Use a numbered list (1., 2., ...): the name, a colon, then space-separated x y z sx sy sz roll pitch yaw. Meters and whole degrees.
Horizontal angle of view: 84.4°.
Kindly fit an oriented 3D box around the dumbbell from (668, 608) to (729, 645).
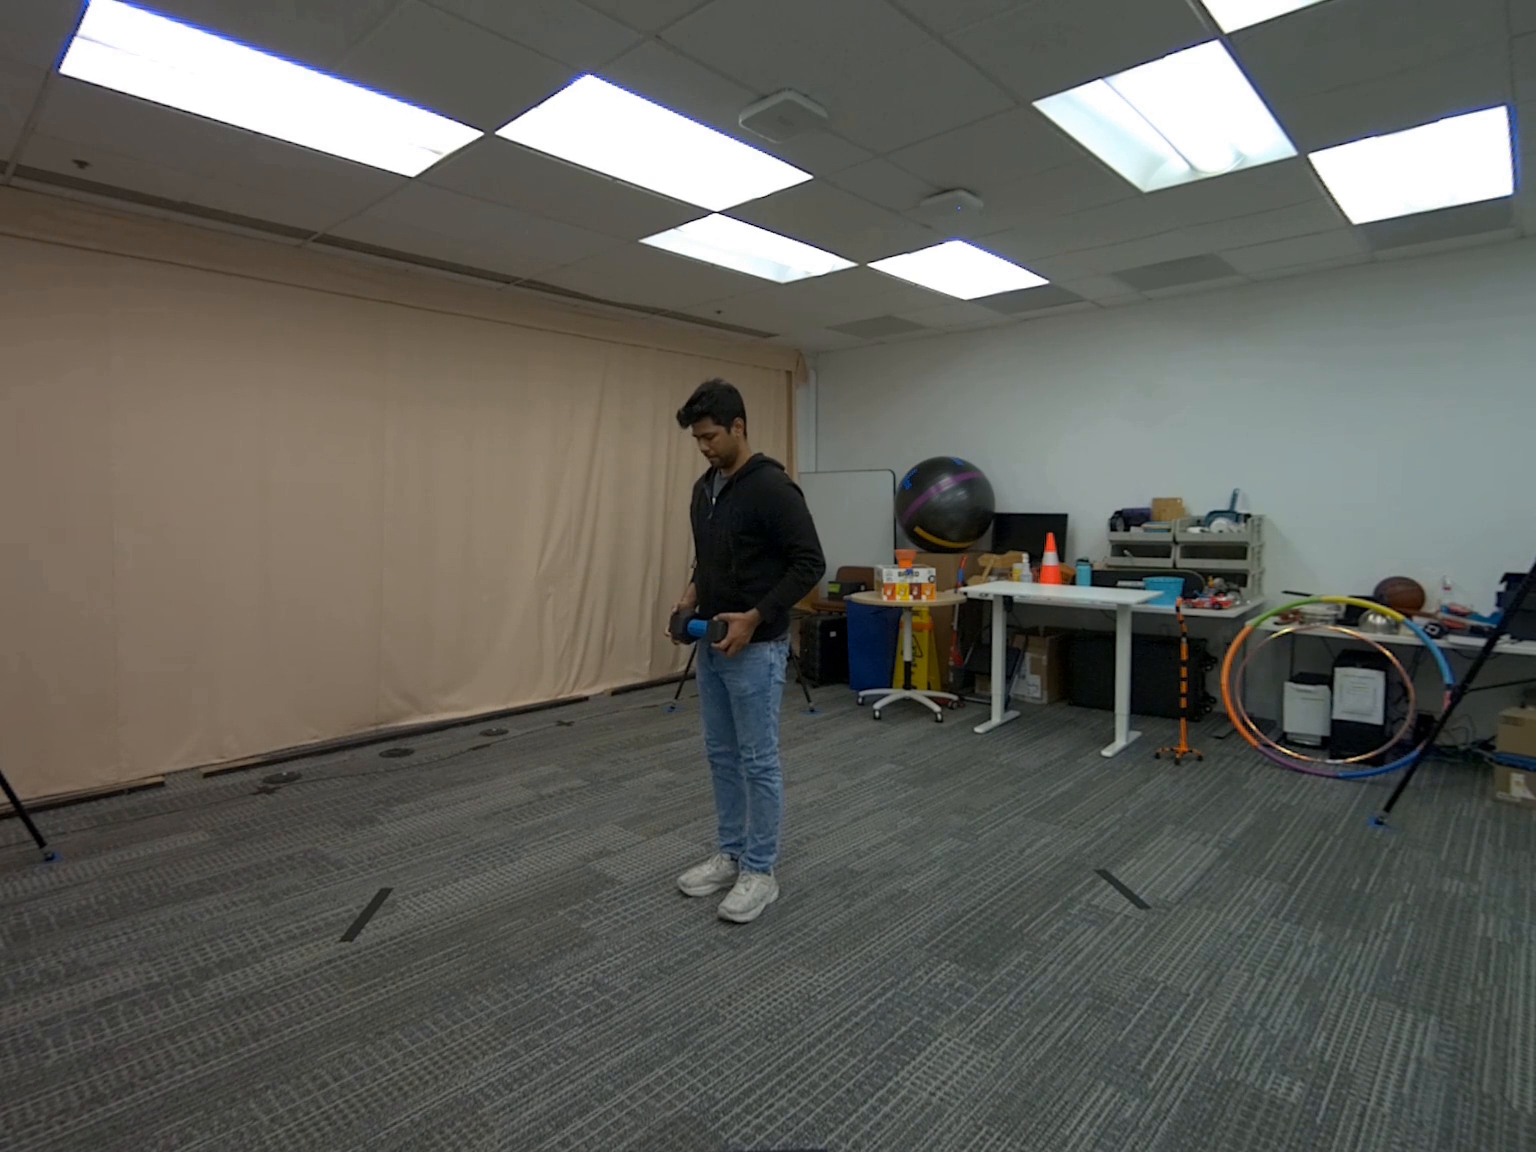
1. dumbbell: -0.208 0.192 2.887 0.303 0.108 0.119 4 -35 51
